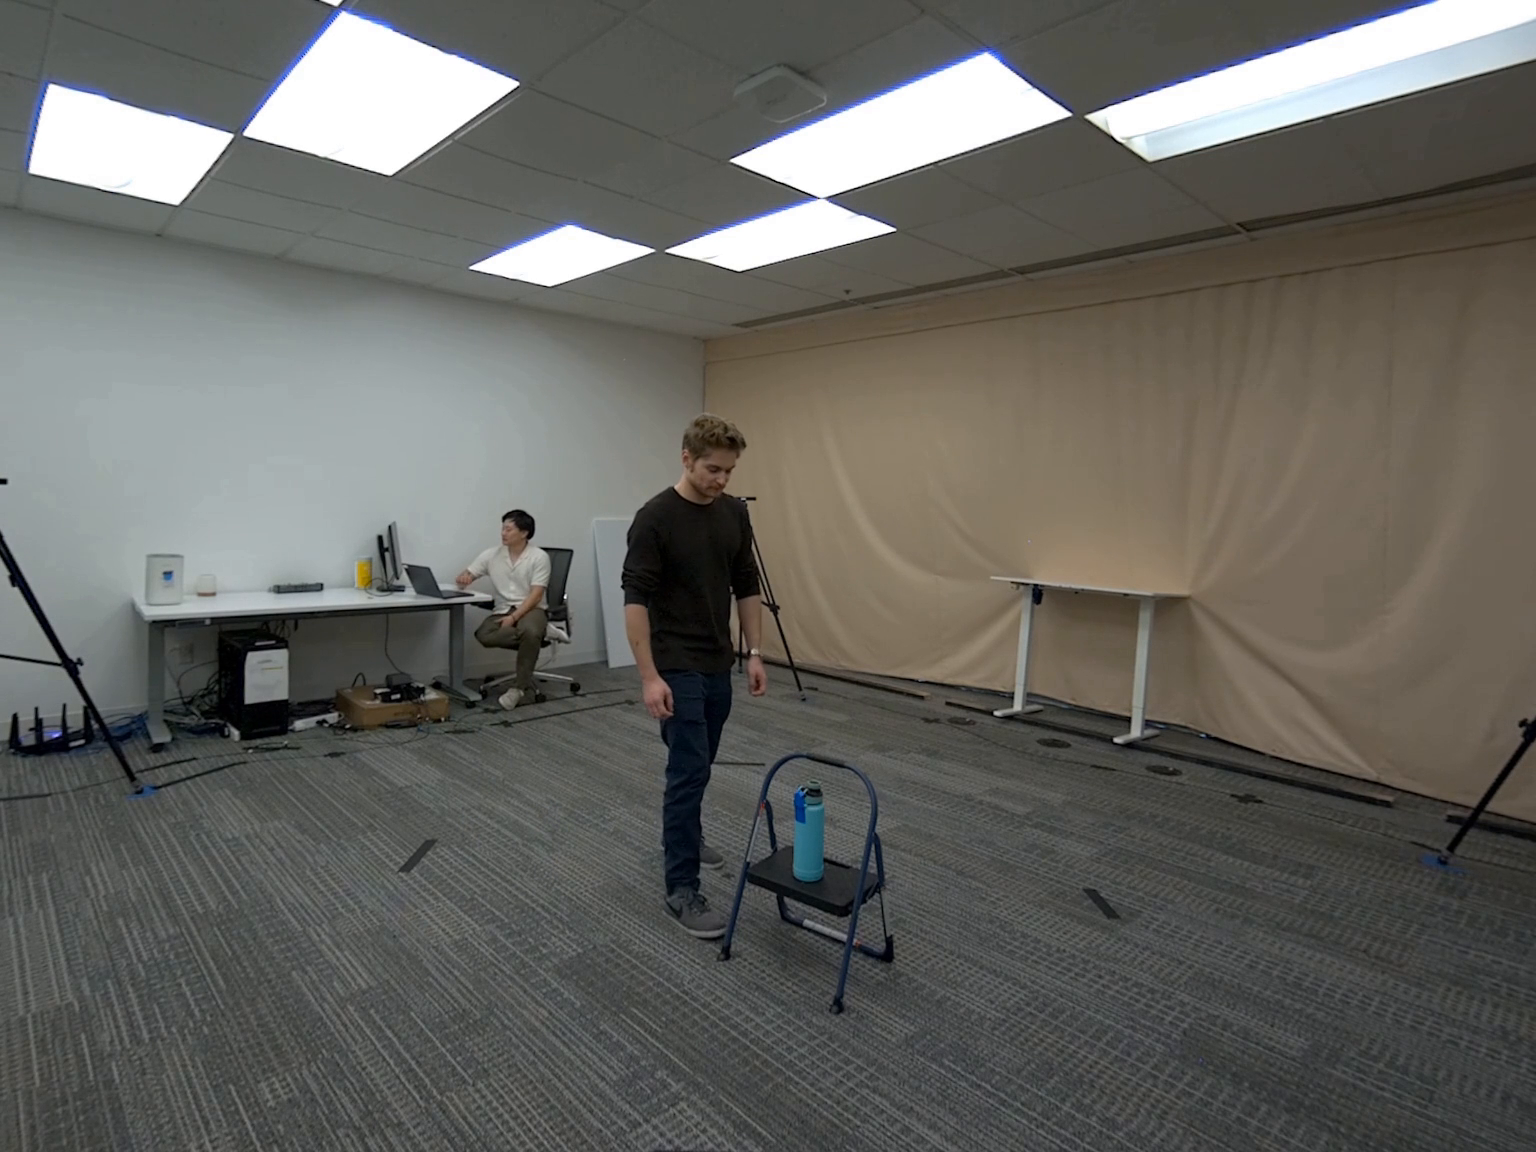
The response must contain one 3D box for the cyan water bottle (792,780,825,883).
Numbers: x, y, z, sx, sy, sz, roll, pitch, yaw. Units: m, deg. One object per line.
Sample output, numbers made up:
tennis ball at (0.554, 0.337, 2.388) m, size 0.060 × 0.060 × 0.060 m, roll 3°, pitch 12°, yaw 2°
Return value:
cyan water bottle at (0.119, 0.766, 2.525) m, size 0.092 × 0.282 × 0.093 m, roll 1°, pitch 5°, yaw -1°
